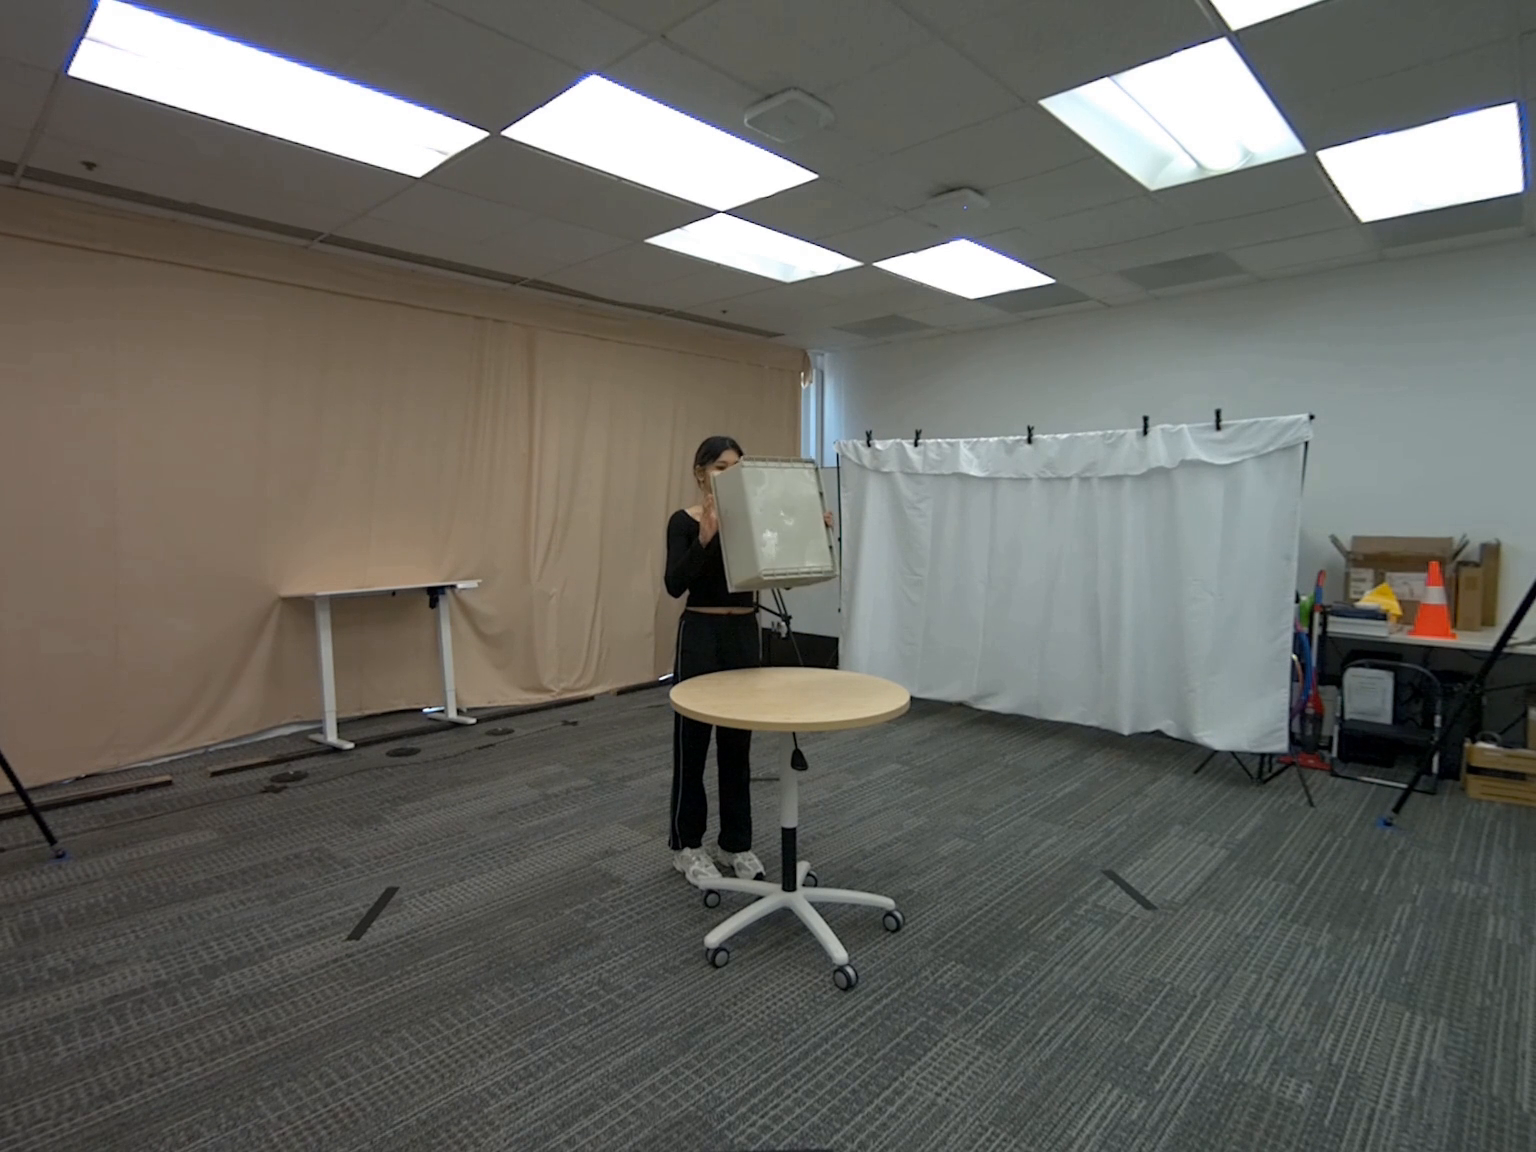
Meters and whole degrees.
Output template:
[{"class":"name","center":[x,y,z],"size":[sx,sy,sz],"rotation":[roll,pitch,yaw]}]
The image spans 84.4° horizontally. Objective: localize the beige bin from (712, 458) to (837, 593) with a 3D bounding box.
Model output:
[{"class":"beige bin","center":[0.035,-0.174,2.889],"size":[0.366,0.425,0.193],"rotation":[-2,-11,-35]}]
